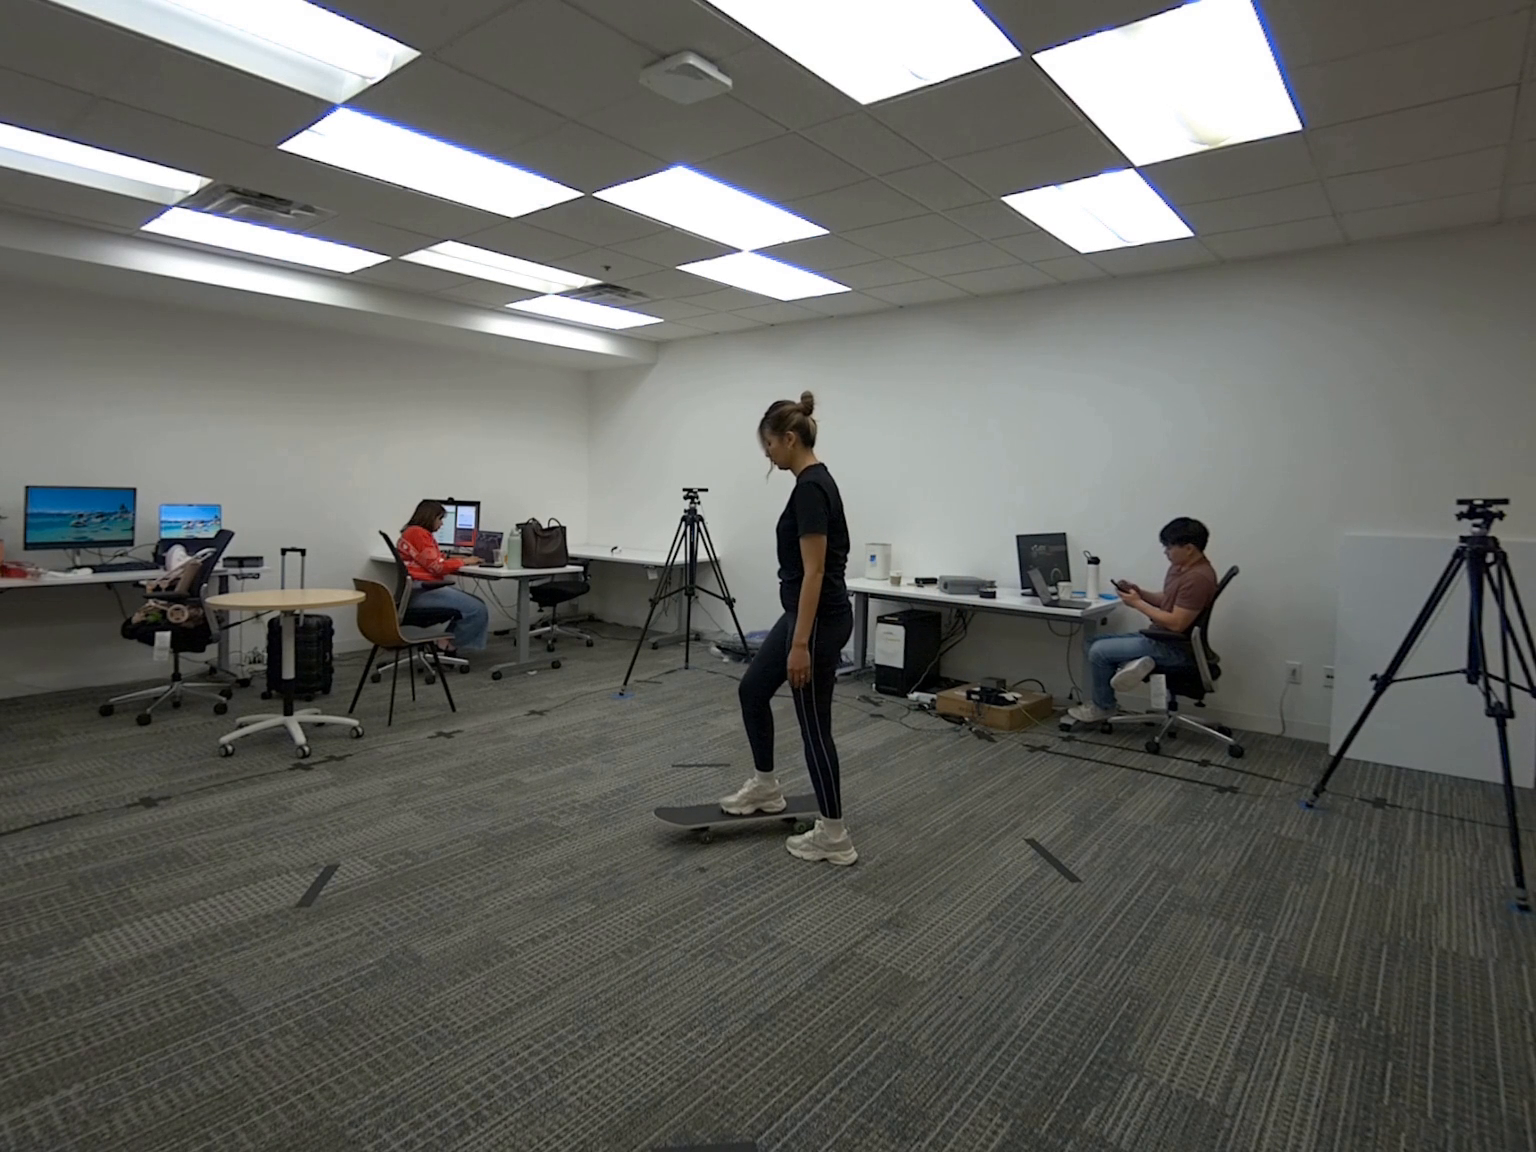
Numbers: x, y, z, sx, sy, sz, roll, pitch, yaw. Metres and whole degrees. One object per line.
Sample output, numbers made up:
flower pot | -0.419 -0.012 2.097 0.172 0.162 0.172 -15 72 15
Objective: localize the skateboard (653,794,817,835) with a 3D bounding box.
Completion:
skateboard | -0.092 0.982 3.471 0.770 0.110 0.198 -1 5 -19
